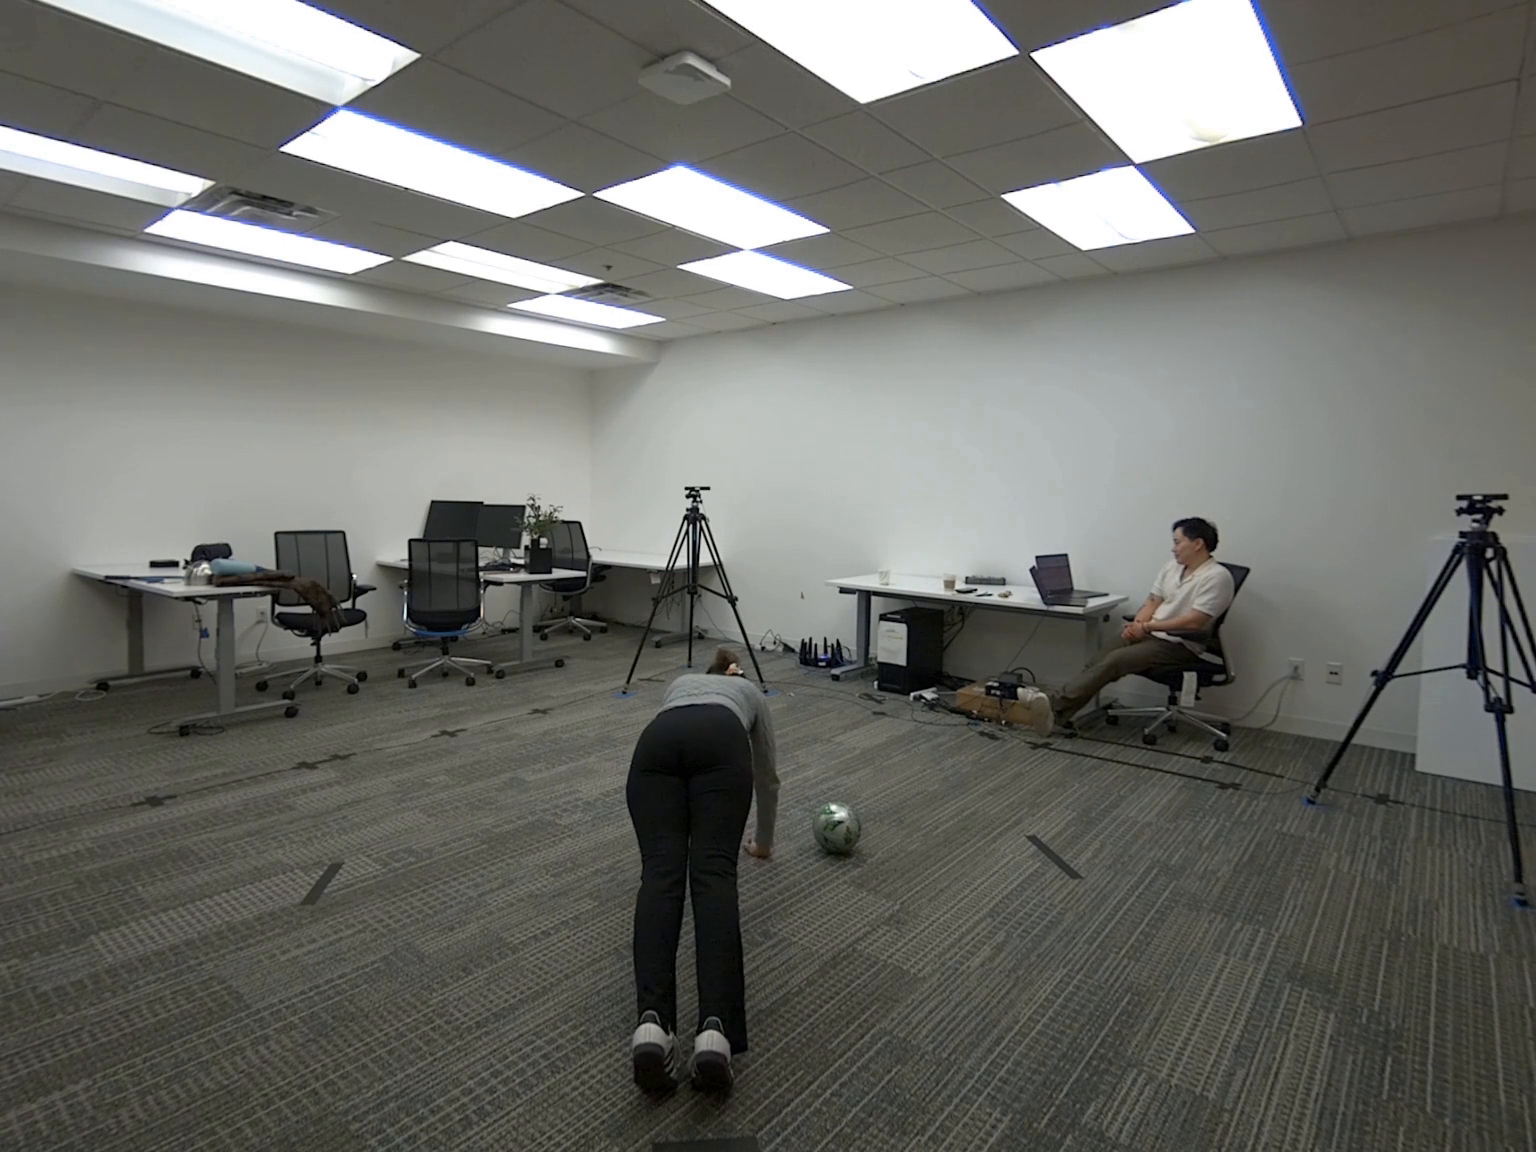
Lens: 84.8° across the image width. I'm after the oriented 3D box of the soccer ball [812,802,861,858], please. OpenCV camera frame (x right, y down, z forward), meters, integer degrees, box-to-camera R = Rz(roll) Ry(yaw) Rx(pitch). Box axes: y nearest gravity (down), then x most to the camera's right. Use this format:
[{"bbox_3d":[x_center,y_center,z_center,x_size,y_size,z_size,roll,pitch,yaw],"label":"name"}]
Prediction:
[{"bbox_3d":[0.255,0.967,3.272,0.187,0.187,0.188,1,4,-2],"label":"soccer ball"}]
